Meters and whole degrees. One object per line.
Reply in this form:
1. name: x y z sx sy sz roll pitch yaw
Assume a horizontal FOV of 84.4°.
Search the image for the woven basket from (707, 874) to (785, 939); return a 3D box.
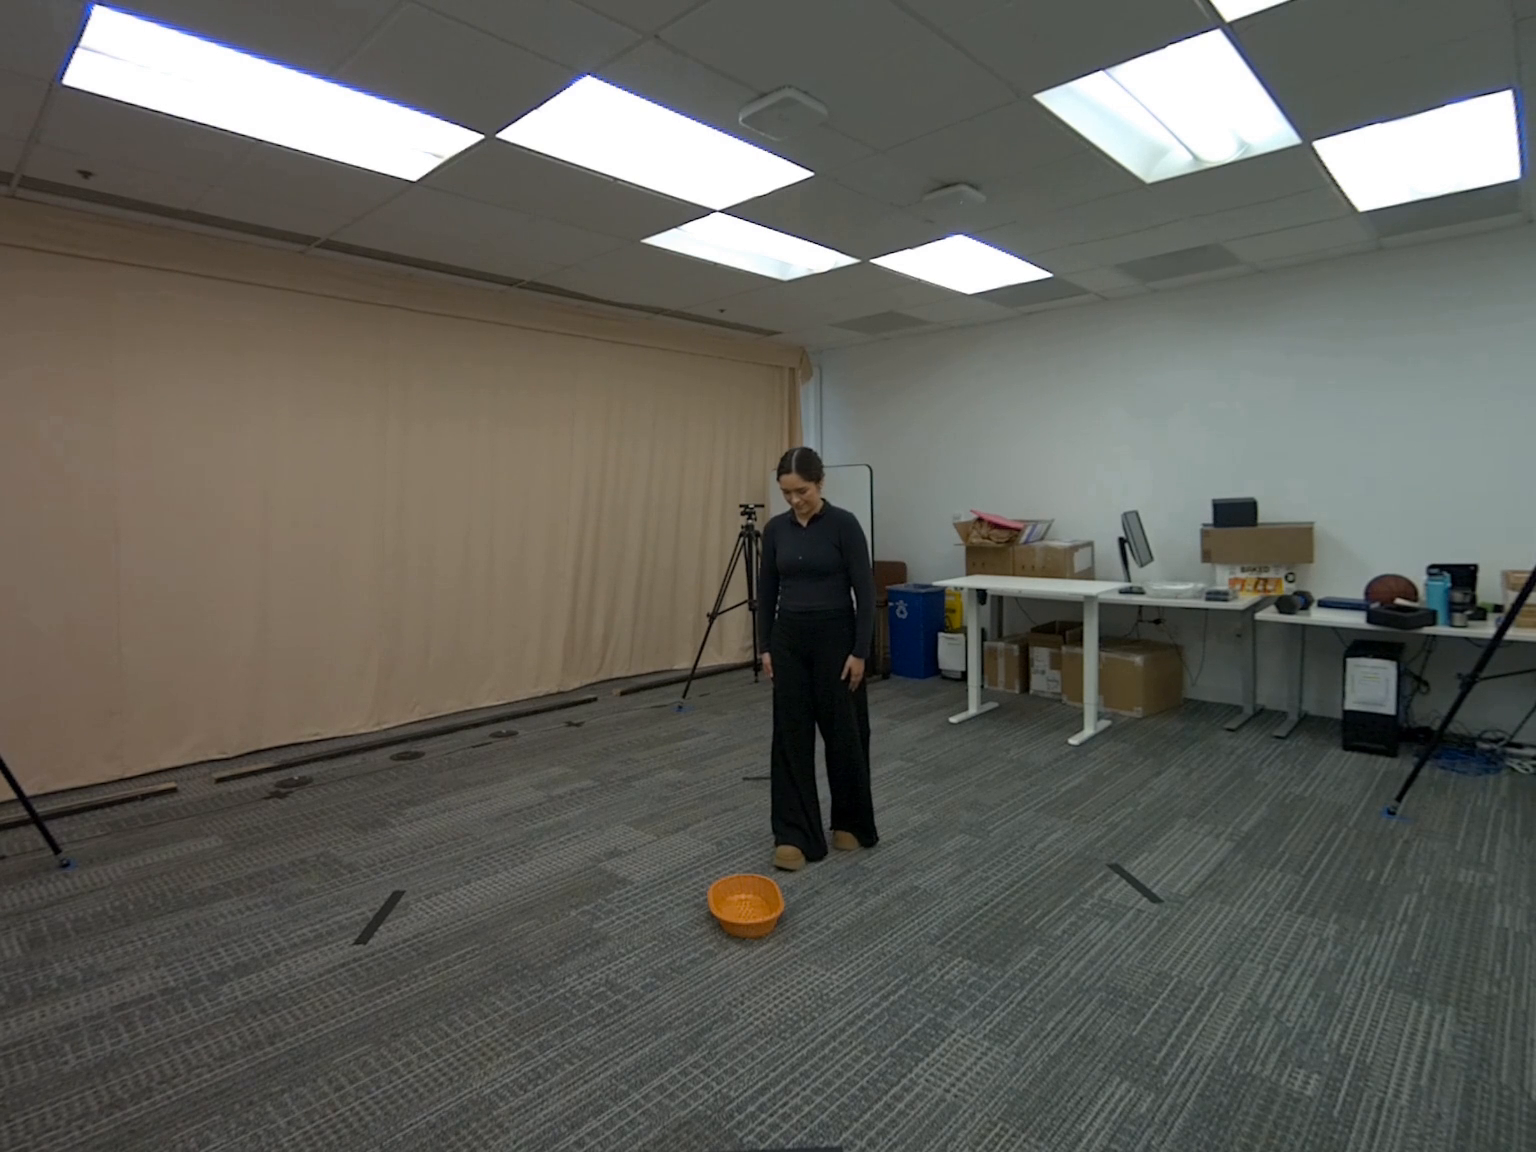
1. woven basket: -0.076 1.113 2.841 0.251 0.073 0.354 -3 5 -8
